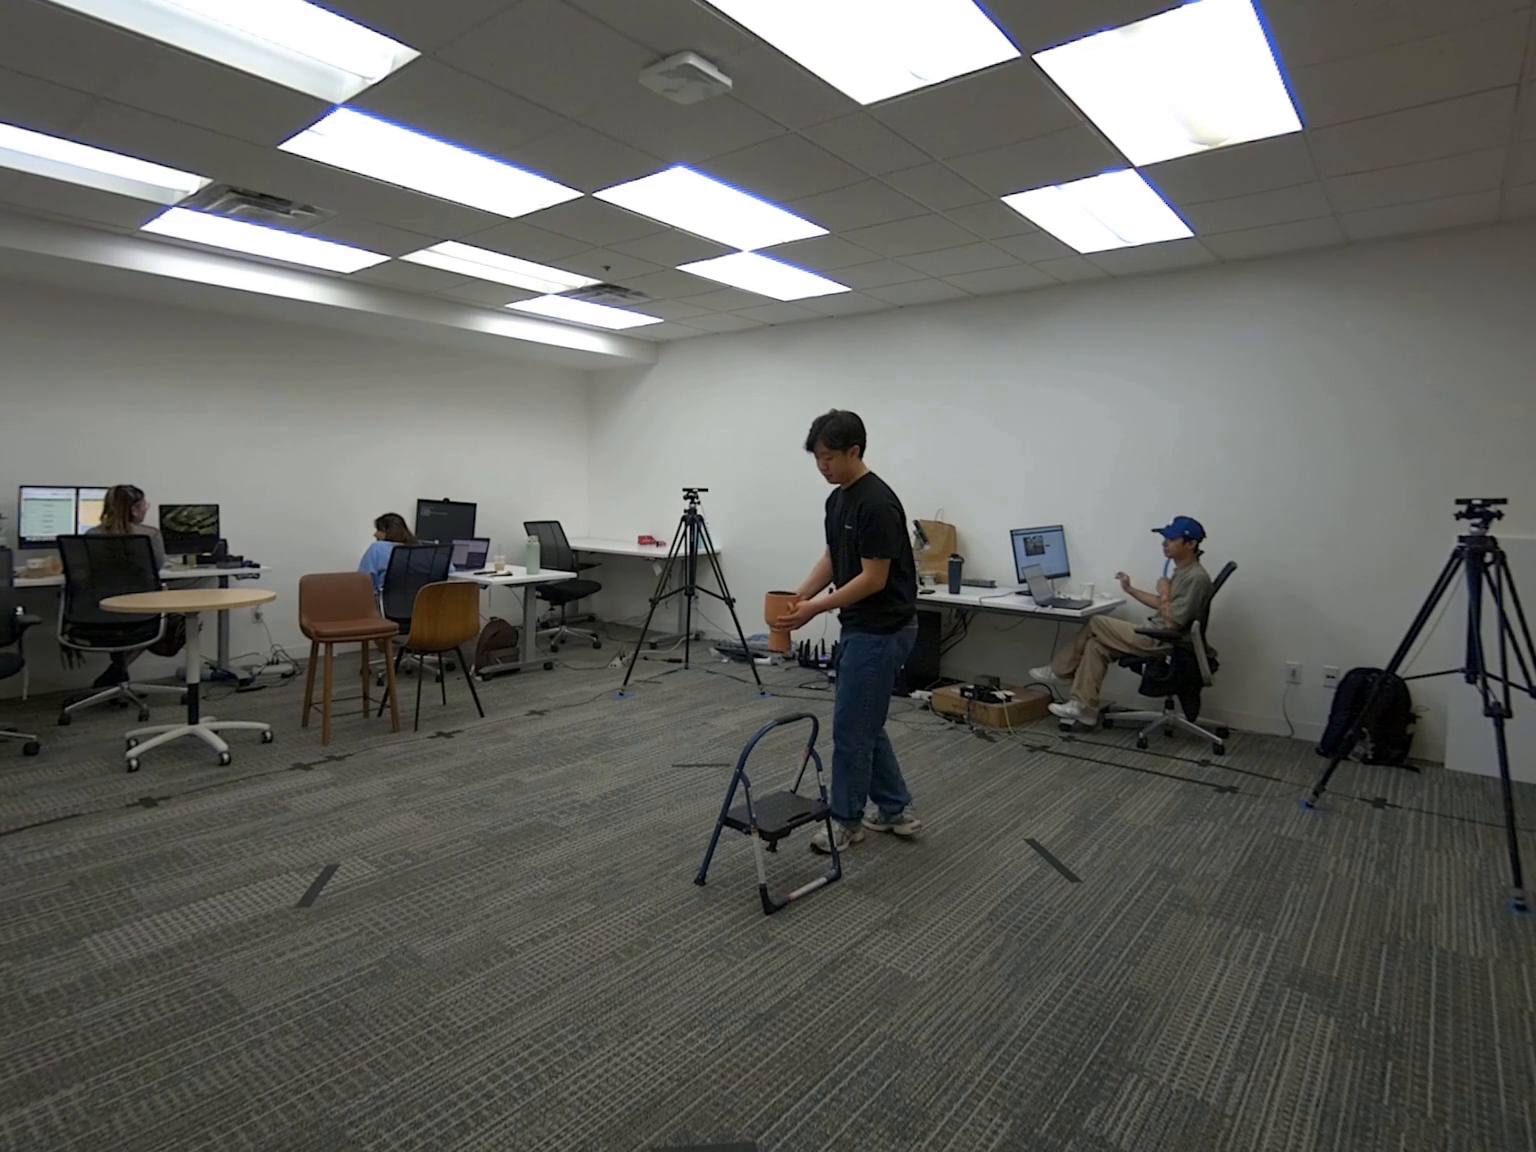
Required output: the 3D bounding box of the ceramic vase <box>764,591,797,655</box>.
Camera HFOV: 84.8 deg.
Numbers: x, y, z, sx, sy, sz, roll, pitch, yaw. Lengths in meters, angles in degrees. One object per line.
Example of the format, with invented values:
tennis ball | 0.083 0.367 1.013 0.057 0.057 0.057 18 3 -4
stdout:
ceramic vase | 0.041 0.178 3.350 0.137 0.218 0.157 5 8 16
